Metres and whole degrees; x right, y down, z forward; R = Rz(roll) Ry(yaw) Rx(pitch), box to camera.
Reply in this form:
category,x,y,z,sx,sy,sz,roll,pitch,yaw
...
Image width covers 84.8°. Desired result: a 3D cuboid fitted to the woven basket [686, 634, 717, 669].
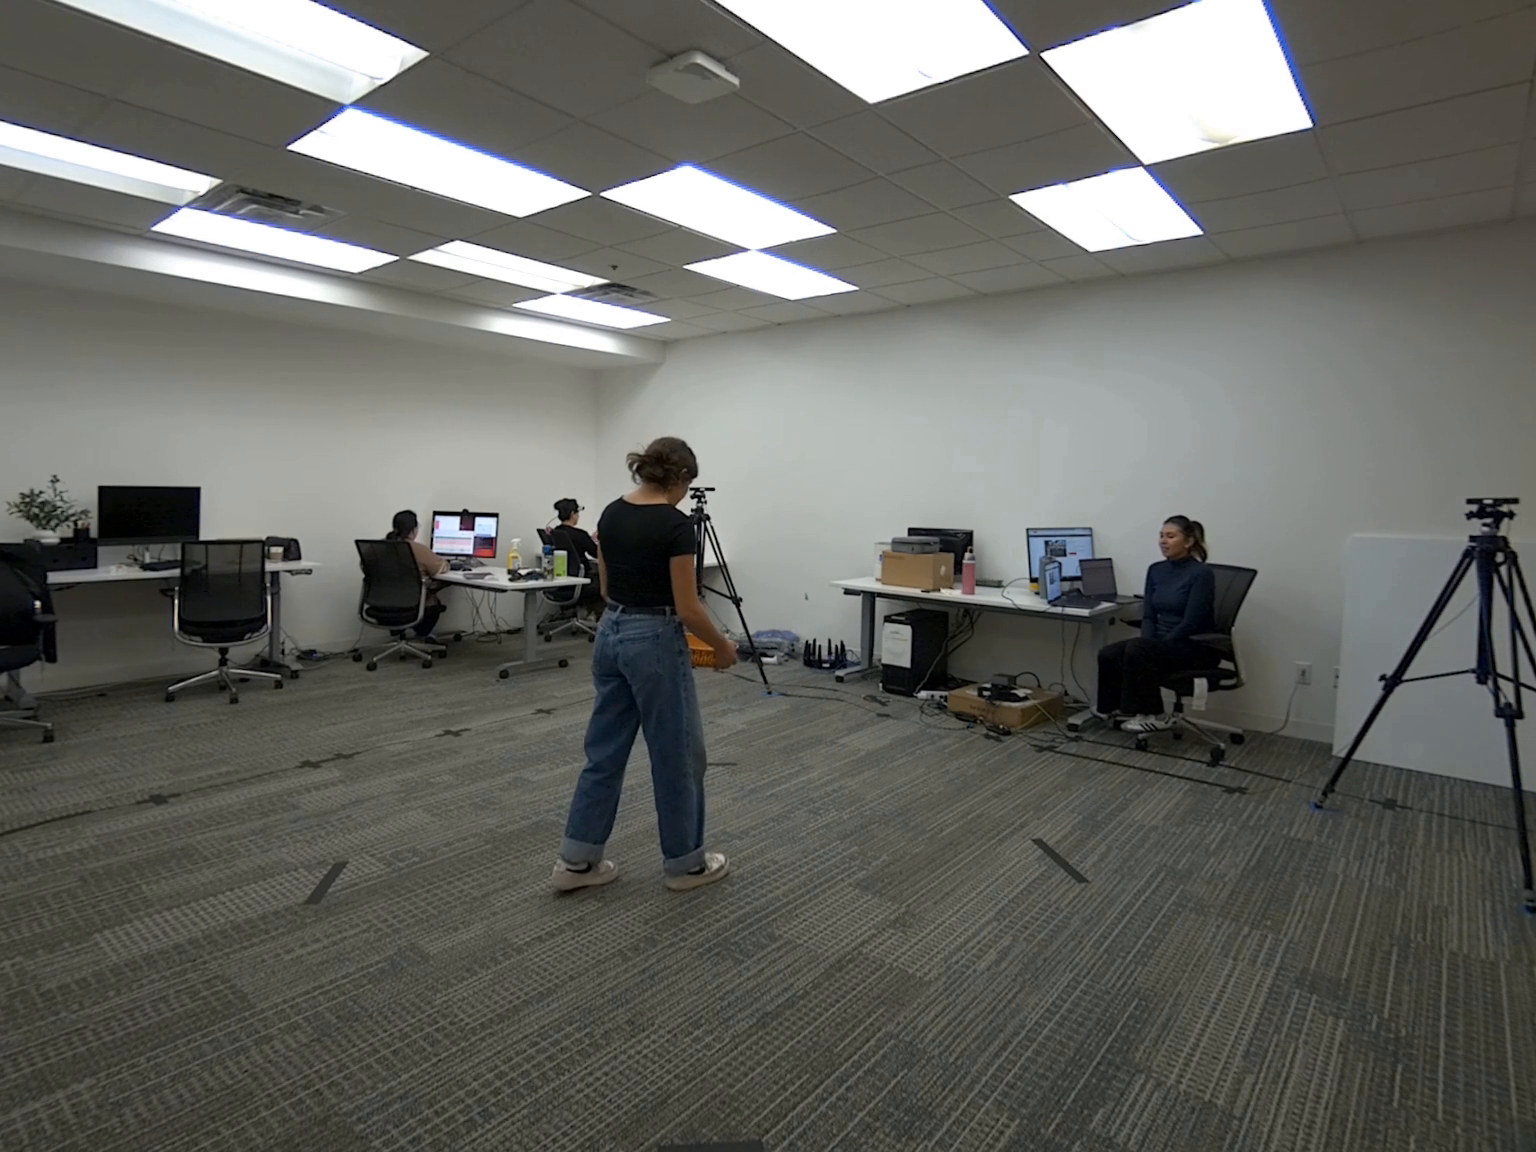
category,x,y,z,sx,sy,sz,roll,pitch,yaw
woven basket,-0.277,0.271,3.098,0.362,0.073,0.245,8,7,37
